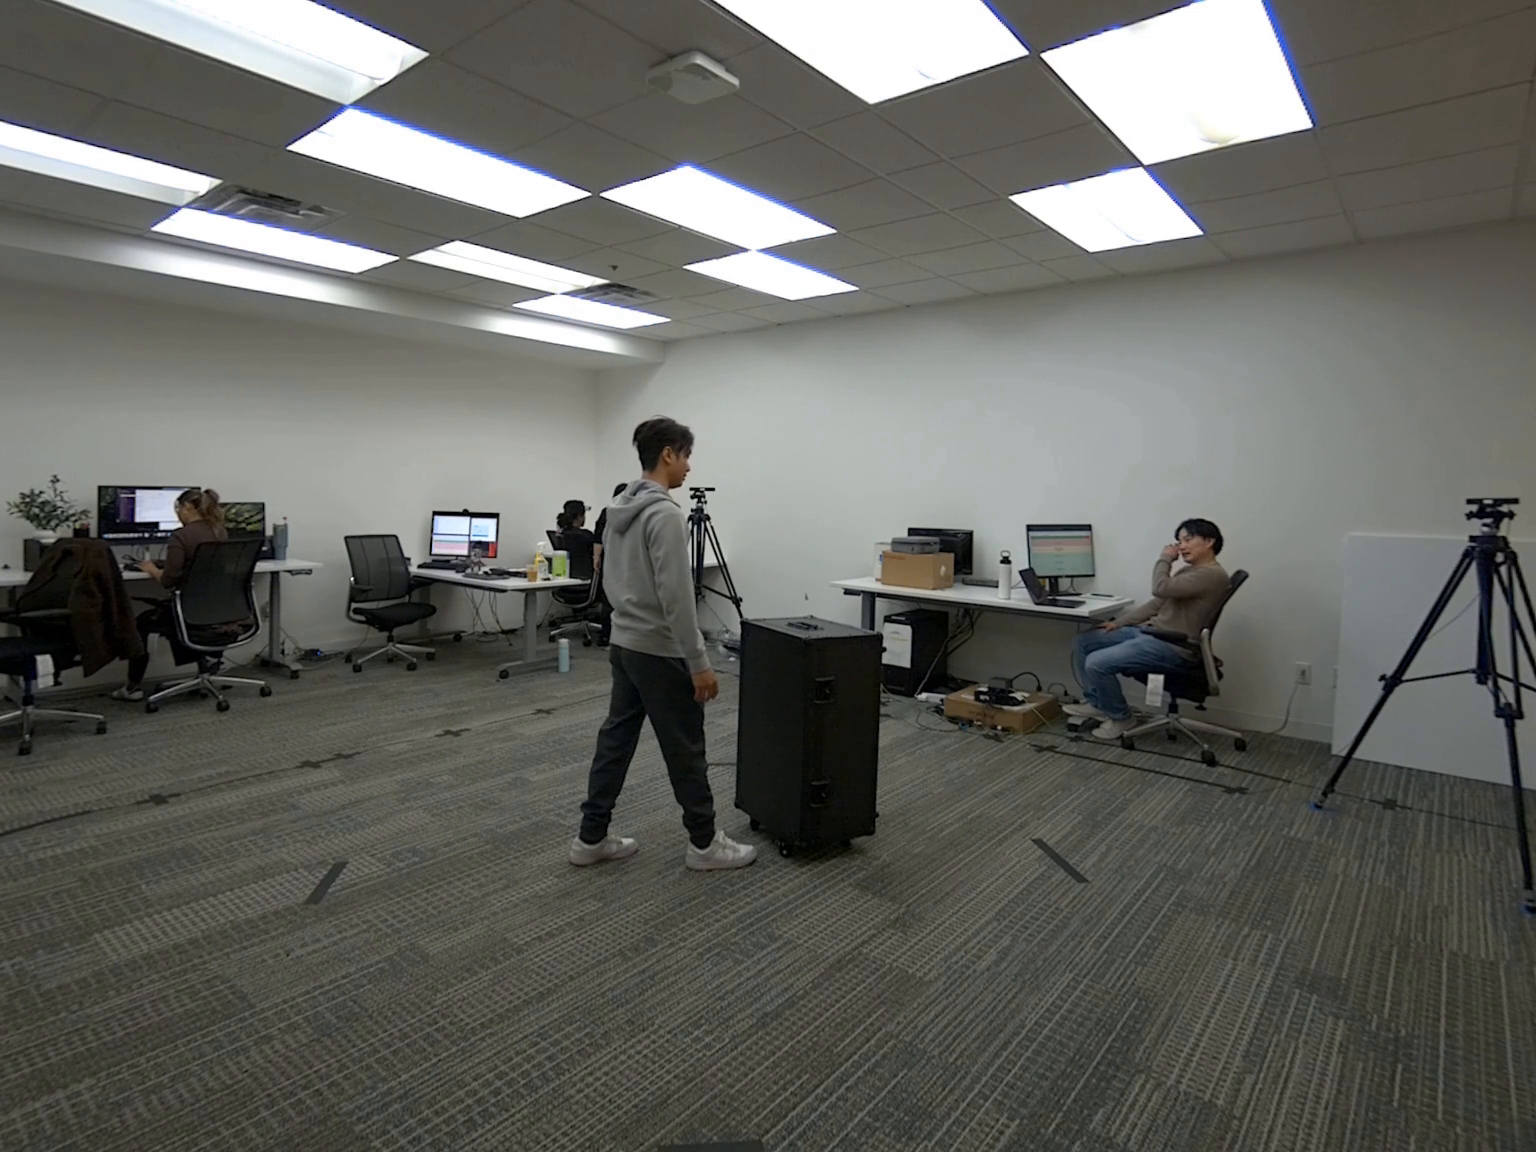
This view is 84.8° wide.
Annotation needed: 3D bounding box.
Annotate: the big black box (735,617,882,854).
[{"bbox_3d":[0.145,0.623,3.399,0.385,0.859,0.537,0,4,-31],"label":"big black box"}]
